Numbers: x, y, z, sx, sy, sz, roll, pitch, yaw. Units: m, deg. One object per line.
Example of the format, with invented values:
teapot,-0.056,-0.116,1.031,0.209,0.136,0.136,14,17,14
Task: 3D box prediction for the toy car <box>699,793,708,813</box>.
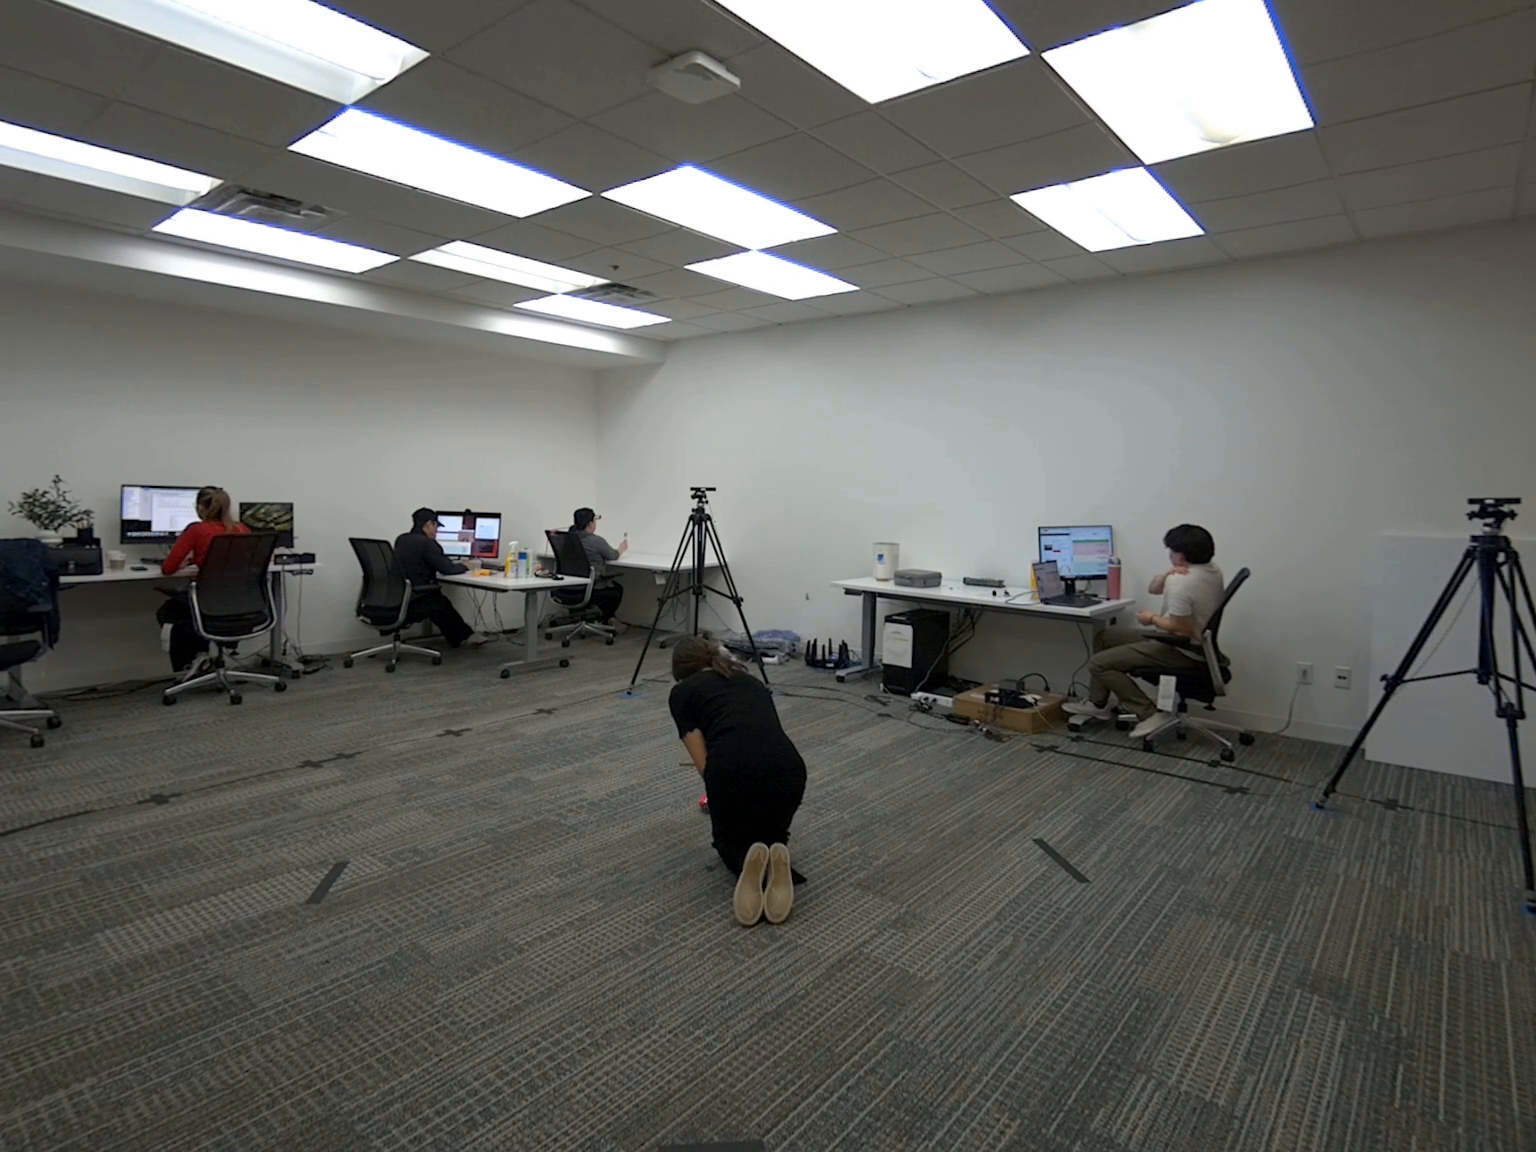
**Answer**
toy car,-0.172,0.975,3.678,0.256,0.083,0.130,-10,3,5
